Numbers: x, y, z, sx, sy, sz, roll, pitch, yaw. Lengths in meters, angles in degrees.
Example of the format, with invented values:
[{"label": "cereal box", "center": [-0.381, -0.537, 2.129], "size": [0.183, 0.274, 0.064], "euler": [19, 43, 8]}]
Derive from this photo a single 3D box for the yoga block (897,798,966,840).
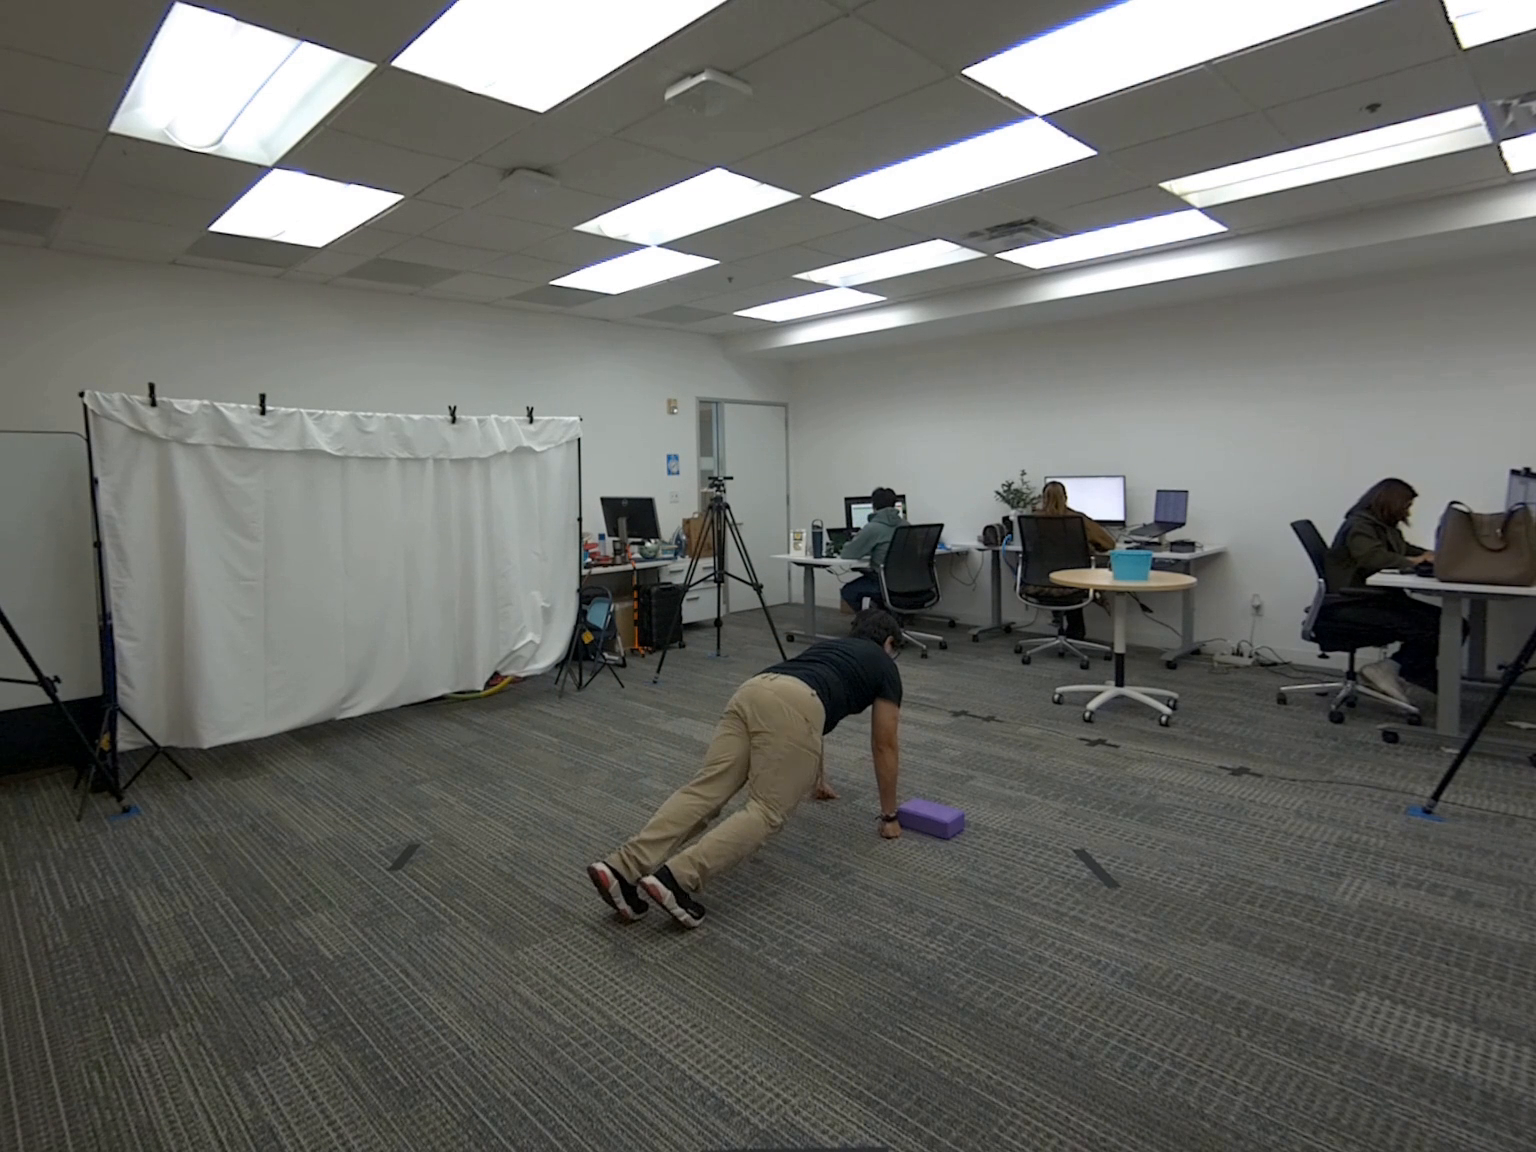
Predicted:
[{"label": "yoga block", "center": [0.641, 0.950, 3.372], "size": [0.236, 0.076, 0.145], "euler": [4, 7, 43]}]
